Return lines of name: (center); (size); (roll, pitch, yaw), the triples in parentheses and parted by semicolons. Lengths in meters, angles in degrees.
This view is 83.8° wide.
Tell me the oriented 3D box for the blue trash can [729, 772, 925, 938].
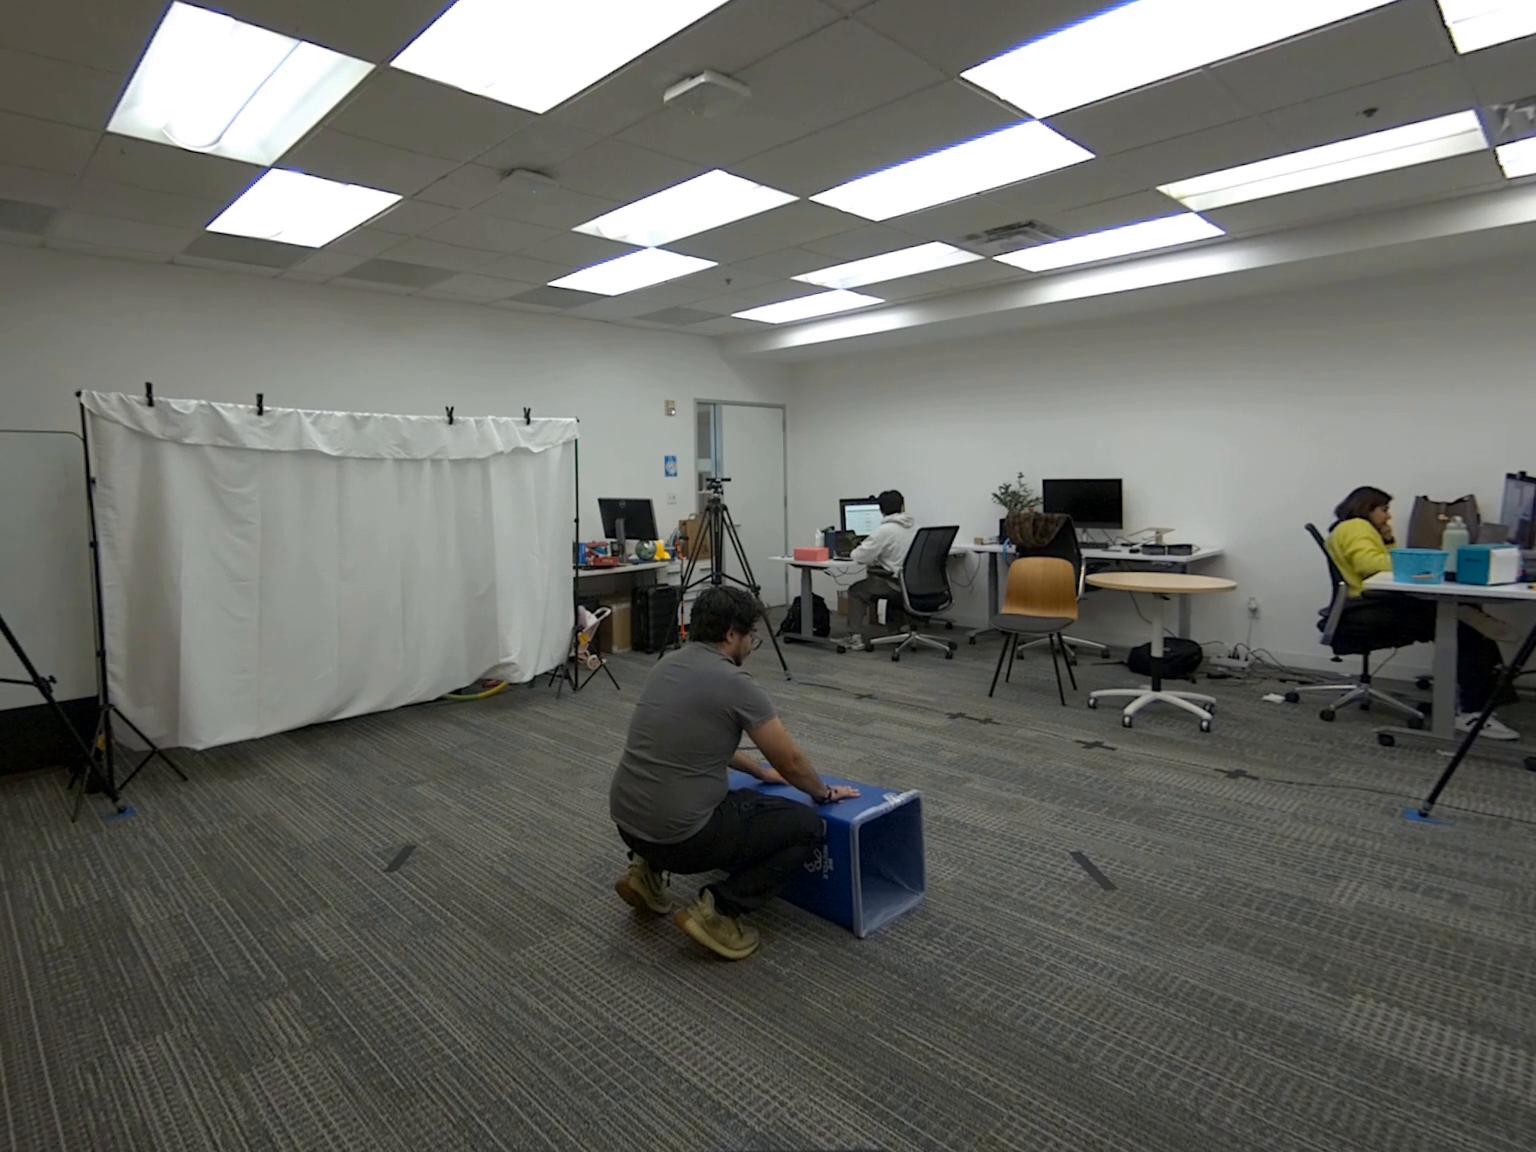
blue trash can: (0.138, 0.884, 2.949); (0.364, 0.377, 0.735); (-6, 6, -44)
